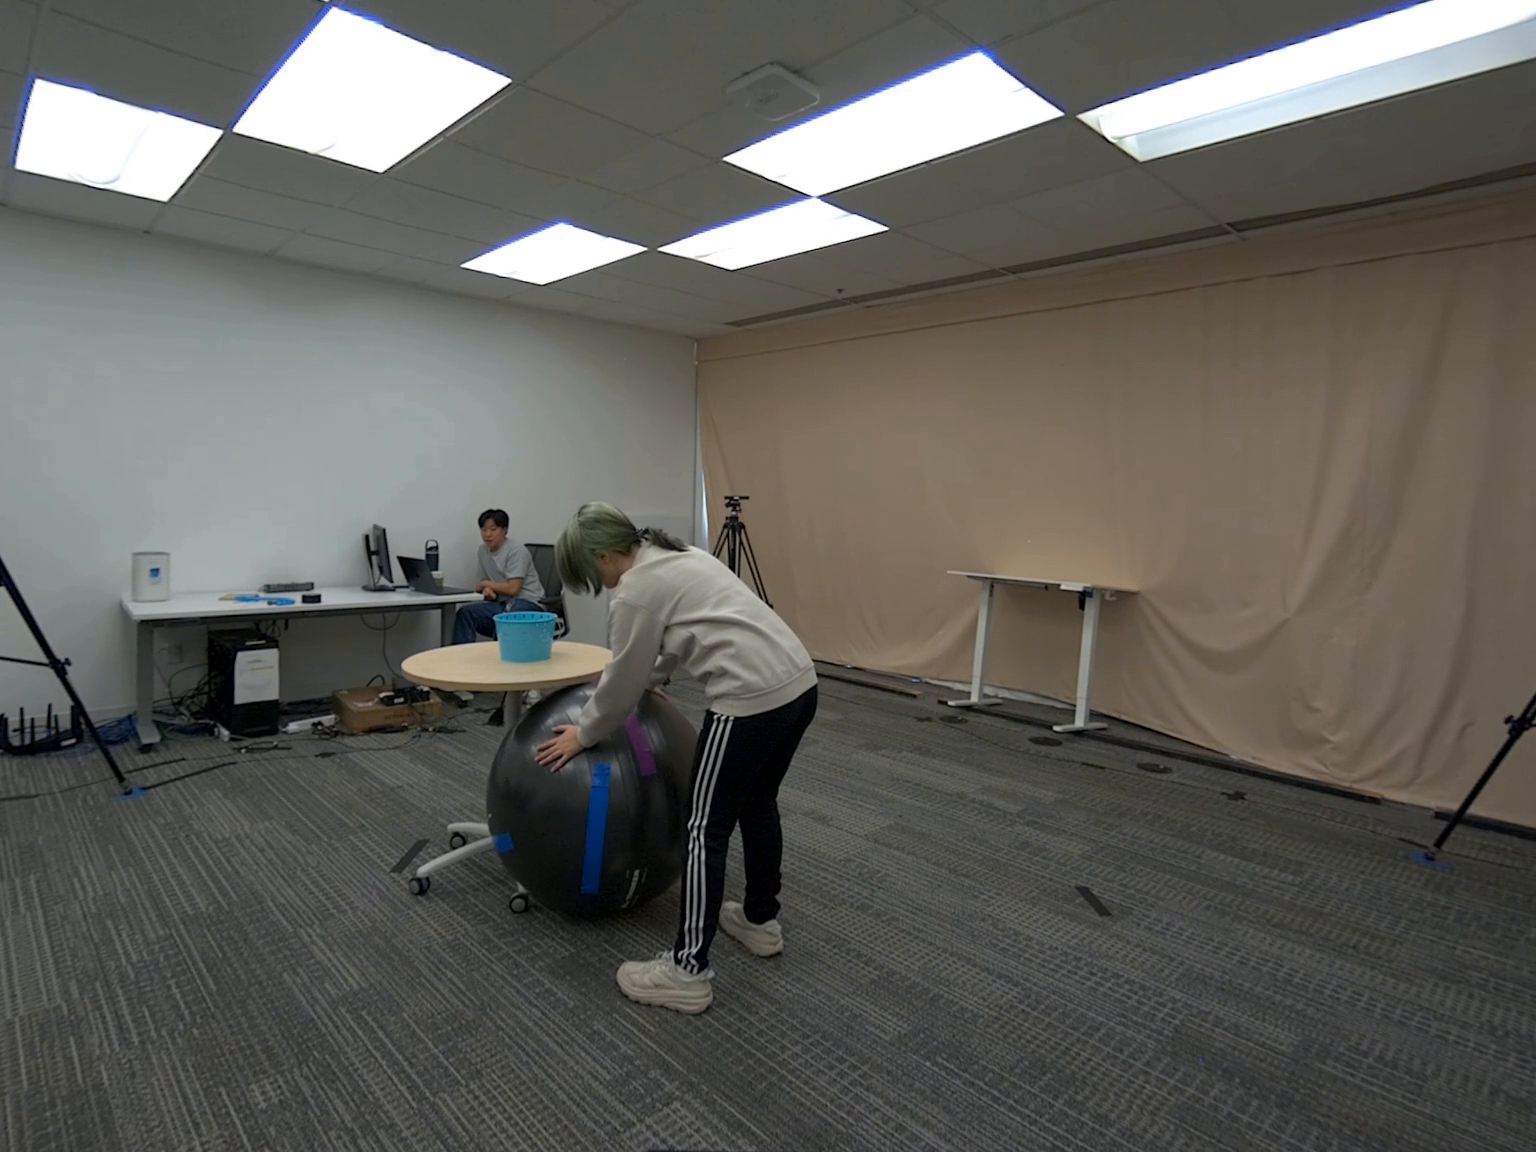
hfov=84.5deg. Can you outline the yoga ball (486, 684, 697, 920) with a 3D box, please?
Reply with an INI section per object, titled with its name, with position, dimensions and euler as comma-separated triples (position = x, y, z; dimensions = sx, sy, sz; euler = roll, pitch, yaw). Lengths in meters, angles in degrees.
[yoga ball]
position = -0.569, 0.744, 2.860
dimensions = 0.757, 0.756, 0.761
euler = 1, 4, -1
